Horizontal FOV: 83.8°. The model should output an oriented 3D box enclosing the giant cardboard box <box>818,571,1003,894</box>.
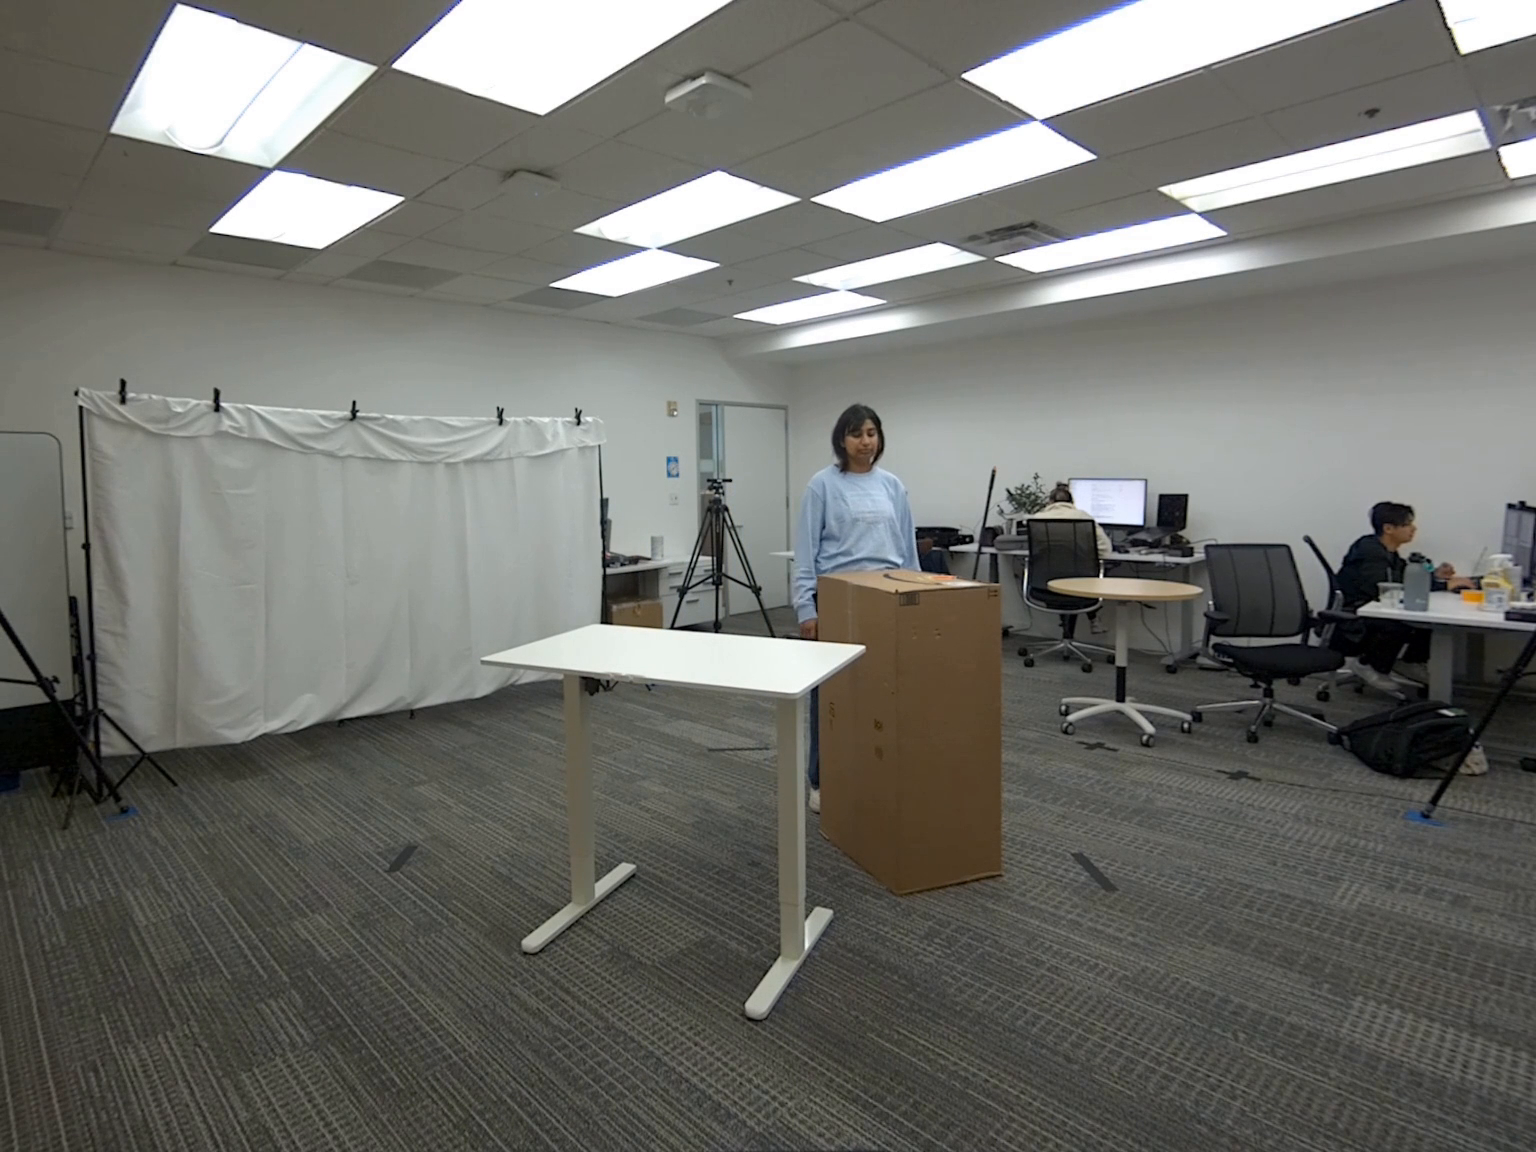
[{"bbox_3d":[0.508,0.525,3.148,0.418,1.023,0.591,-2,4,-23],"label":"giant cardboard box"}]
